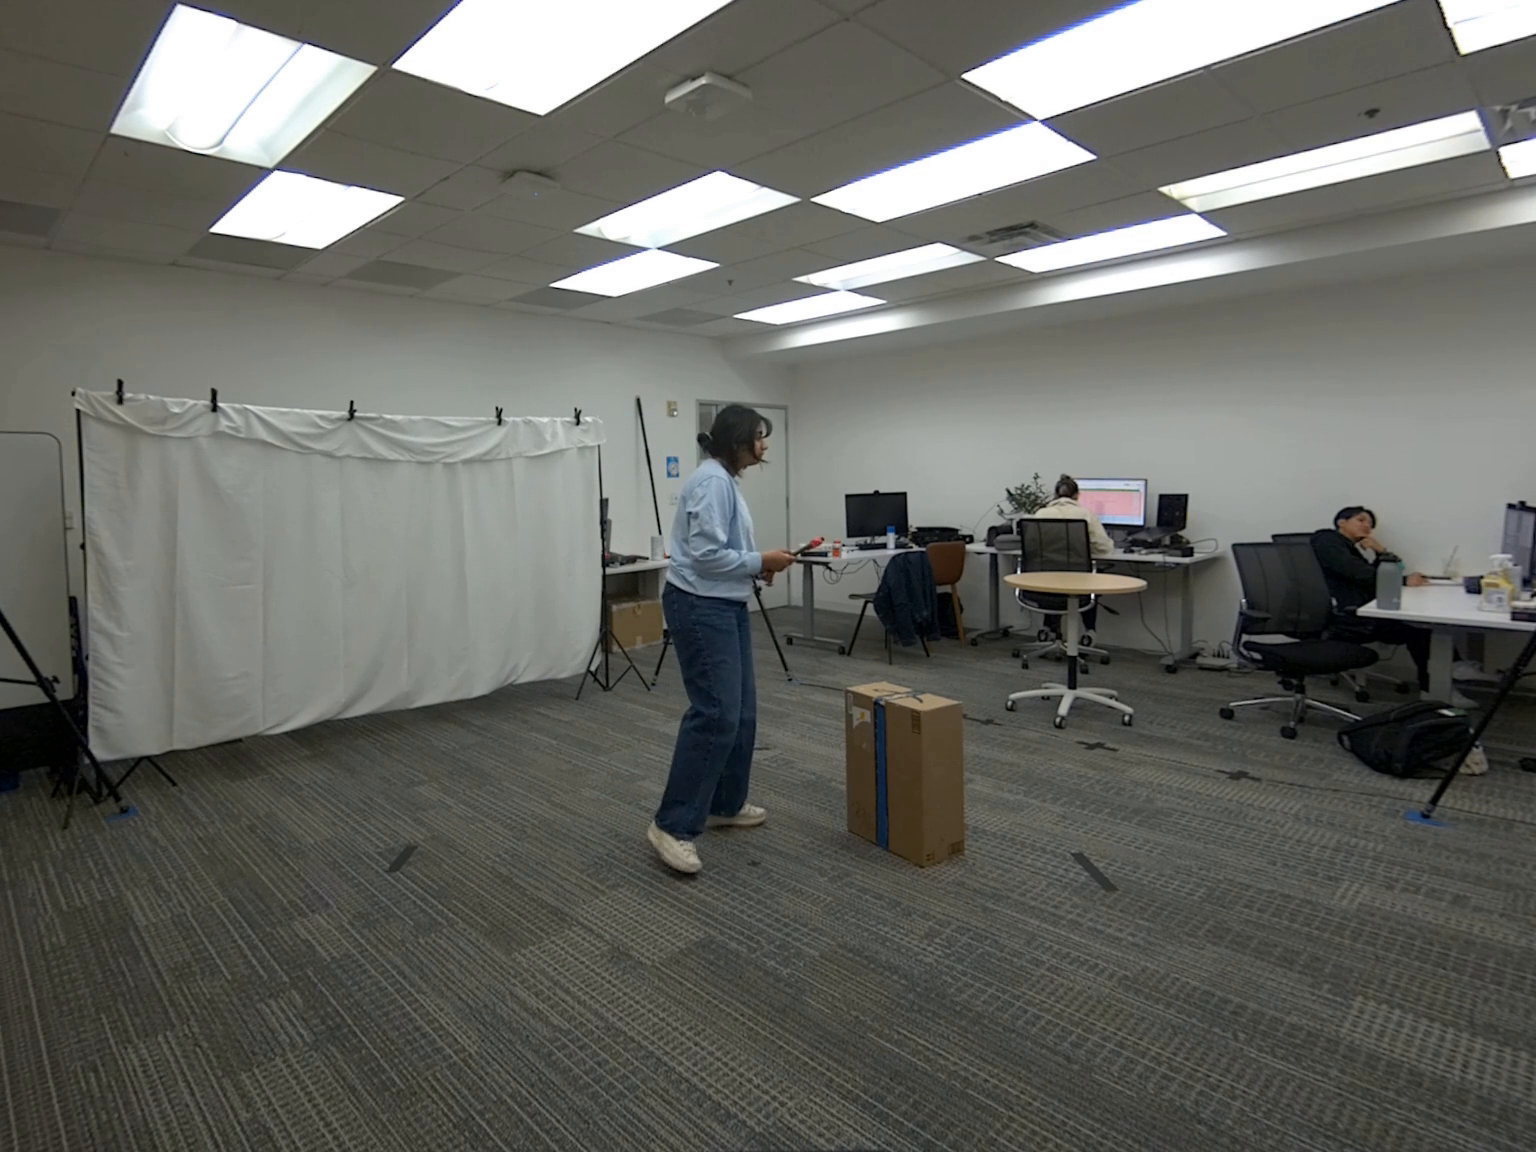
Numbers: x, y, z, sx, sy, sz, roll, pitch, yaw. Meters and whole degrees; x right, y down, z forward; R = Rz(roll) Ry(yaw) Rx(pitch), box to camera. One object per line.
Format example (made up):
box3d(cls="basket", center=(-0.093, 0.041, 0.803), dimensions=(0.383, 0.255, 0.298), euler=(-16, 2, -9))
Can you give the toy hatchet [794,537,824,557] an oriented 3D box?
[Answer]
box3d(cls="toy hatchet", center=(0.100, -0.080, 3.292), dimensions=(0.273, 0.030, 0.128), euler=(-28, -5, 25))
